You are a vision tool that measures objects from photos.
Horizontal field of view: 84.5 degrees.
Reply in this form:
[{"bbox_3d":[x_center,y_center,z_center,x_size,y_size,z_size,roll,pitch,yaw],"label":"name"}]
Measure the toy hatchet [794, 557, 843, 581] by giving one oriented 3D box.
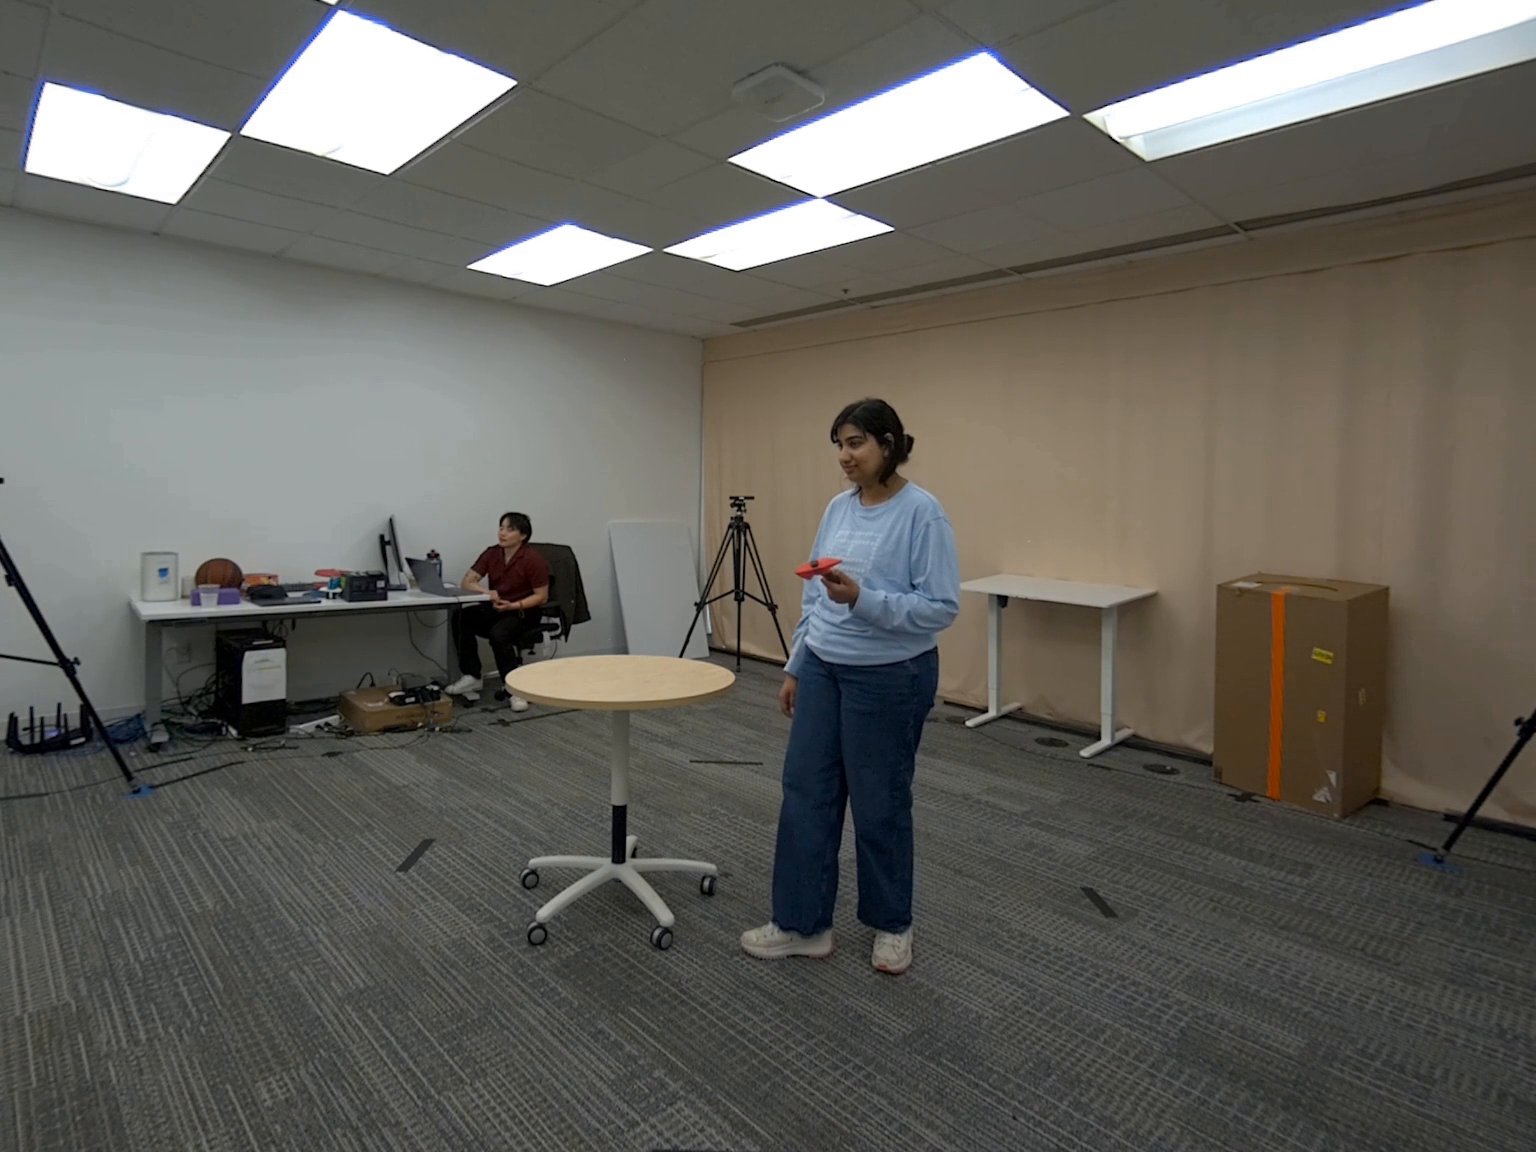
[{"bbox_3d":[0.140,0.016,2.271,0.132,0.030,0.263,-9,-24,9],"label":"toy hatchet"}]
